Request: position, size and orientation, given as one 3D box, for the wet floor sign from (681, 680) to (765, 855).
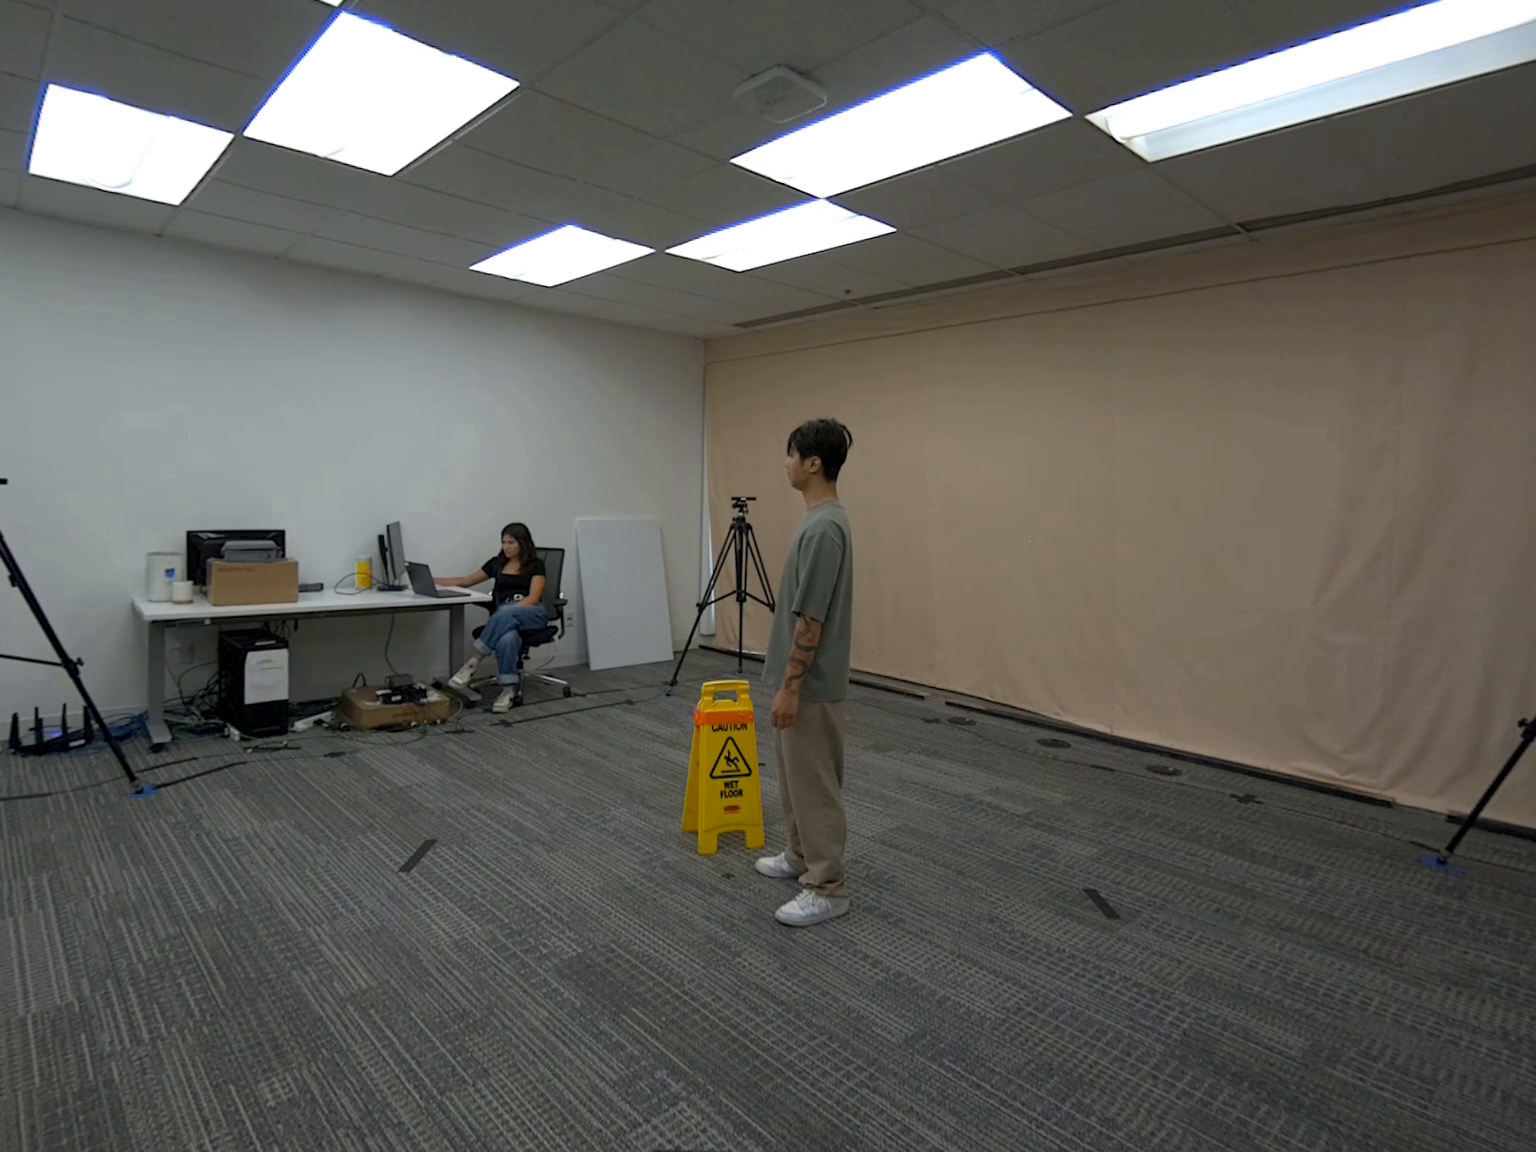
[{"bbox_3d":[-0.186,0.750,3.426,0.278,0.644,0.295,0,3,-21],"label":"wet floor sign"}]
